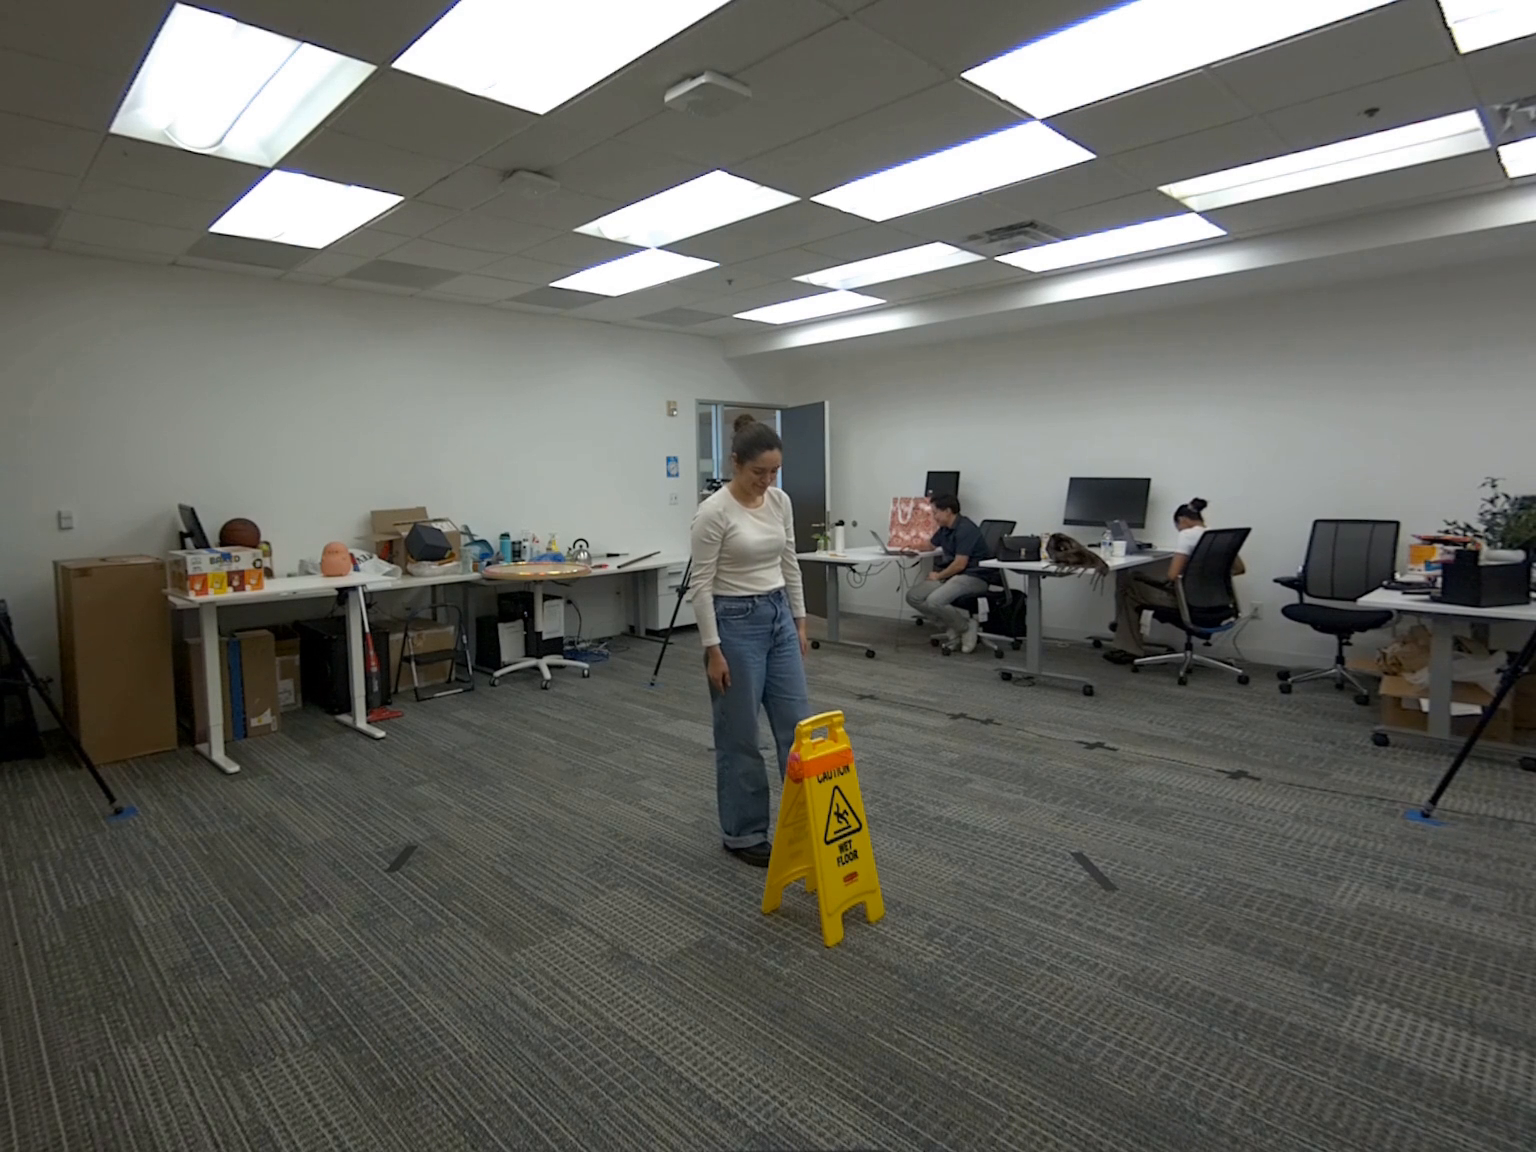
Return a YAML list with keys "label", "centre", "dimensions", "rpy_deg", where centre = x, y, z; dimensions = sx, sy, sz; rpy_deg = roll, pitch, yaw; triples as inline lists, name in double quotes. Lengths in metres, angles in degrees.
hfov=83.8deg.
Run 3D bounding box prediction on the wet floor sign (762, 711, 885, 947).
- label: "wet floor sign"
  centre: [0.167, 0.762, 2.716]
  dimensions: [0.275, 0.644, 0.298]
  rpy_deg: [-4, 4, -44]
